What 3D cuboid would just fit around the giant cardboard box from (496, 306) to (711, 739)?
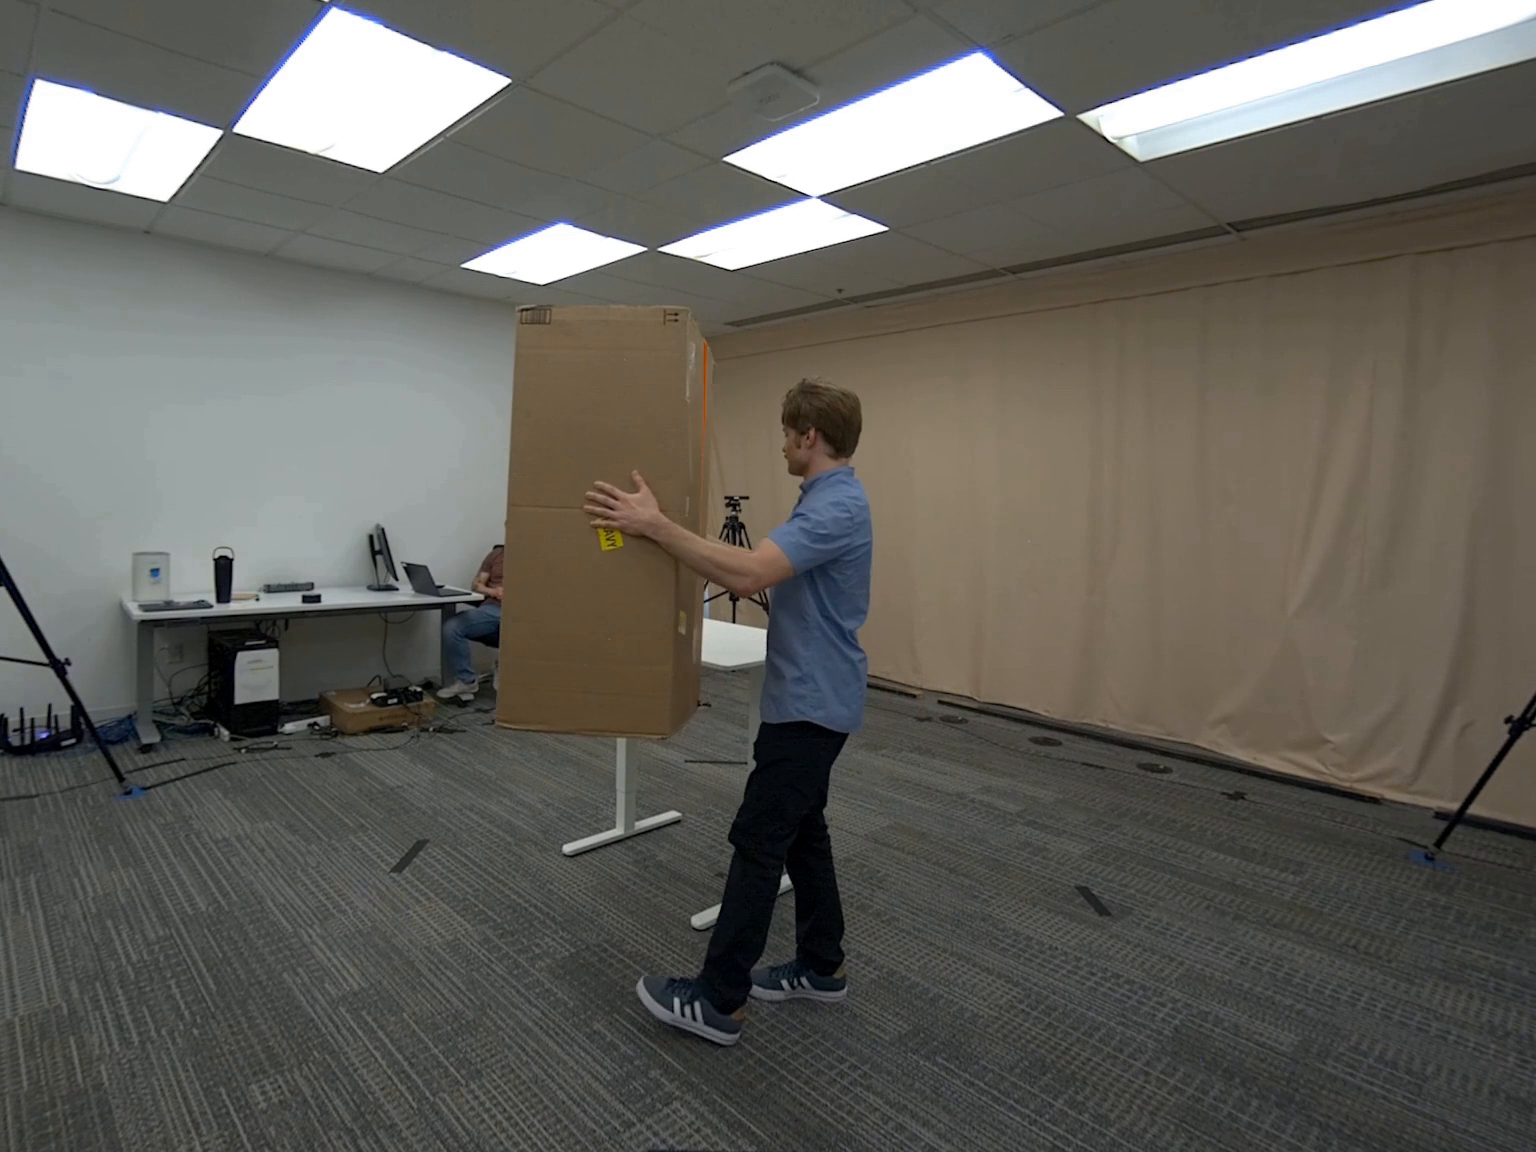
[{"bbox_3d":[-0.411,-0.144,2.259,0.429,1.028,0.573,2,-3,6],"label":"giant cardboard box"}]
